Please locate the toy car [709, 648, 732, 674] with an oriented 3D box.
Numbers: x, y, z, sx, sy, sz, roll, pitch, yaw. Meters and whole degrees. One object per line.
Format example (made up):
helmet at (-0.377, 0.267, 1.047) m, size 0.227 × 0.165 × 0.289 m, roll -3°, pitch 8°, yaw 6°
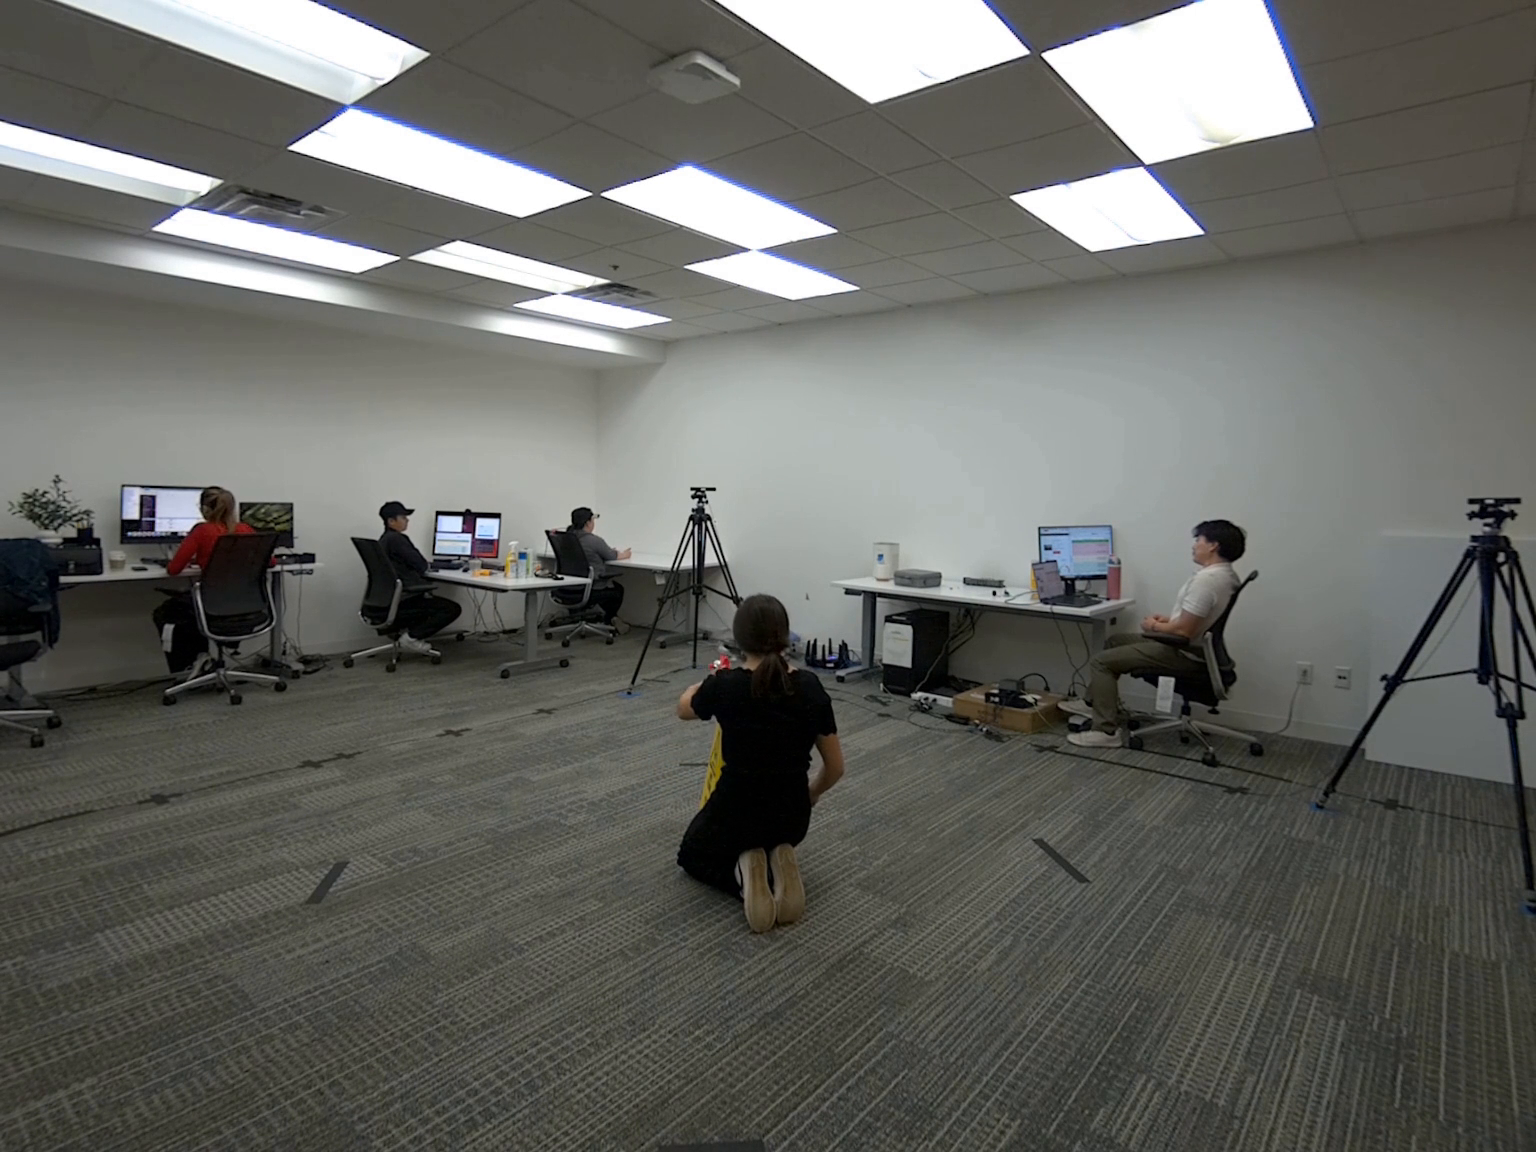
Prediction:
toy car at (-0.199, 0.421, 3.351) m, size 0.082 × 0.256 × 0.131 m, roll 6°, pitch -7°, yaw -14°
